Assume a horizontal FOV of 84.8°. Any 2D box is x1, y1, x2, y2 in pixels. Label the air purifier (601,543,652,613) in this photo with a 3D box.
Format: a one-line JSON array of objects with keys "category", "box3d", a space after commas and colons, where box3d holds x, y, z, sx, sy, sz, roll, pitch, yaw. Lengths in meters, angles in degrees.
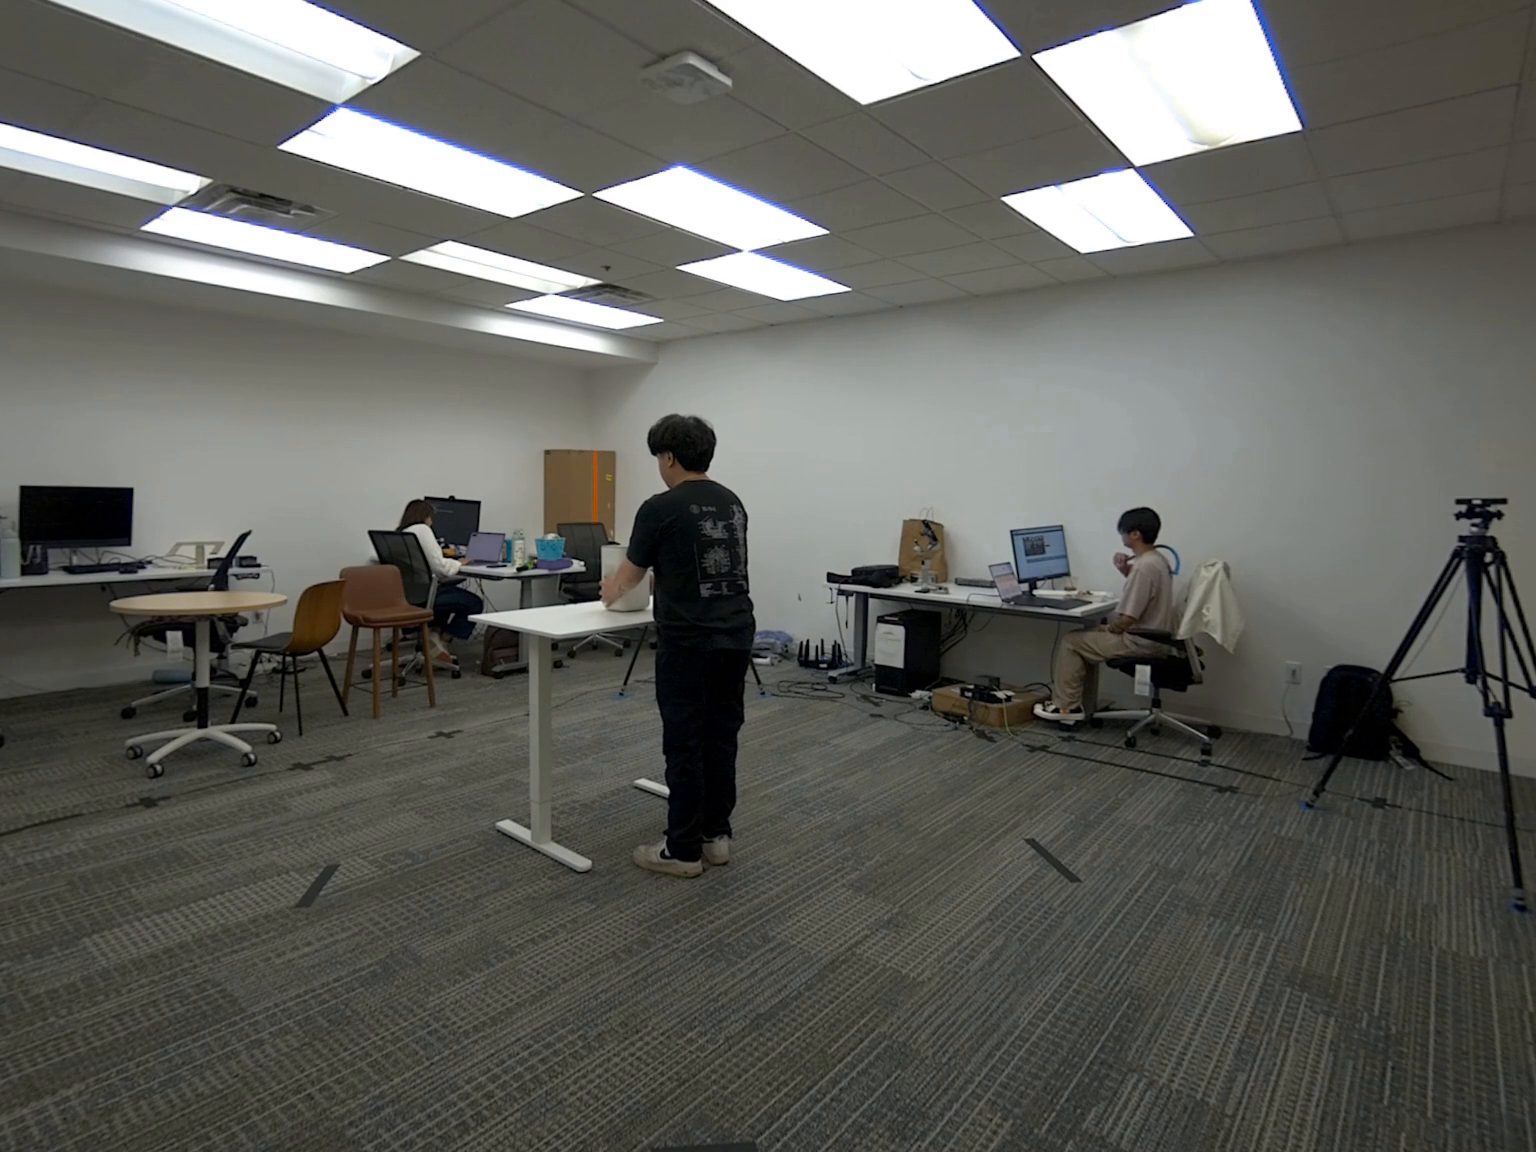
[{"category": "air purifier", "box3d": [-0.596, 0.004, 3.542, 0.166, 0.265, 0.177, -2, 3, -44]}]
